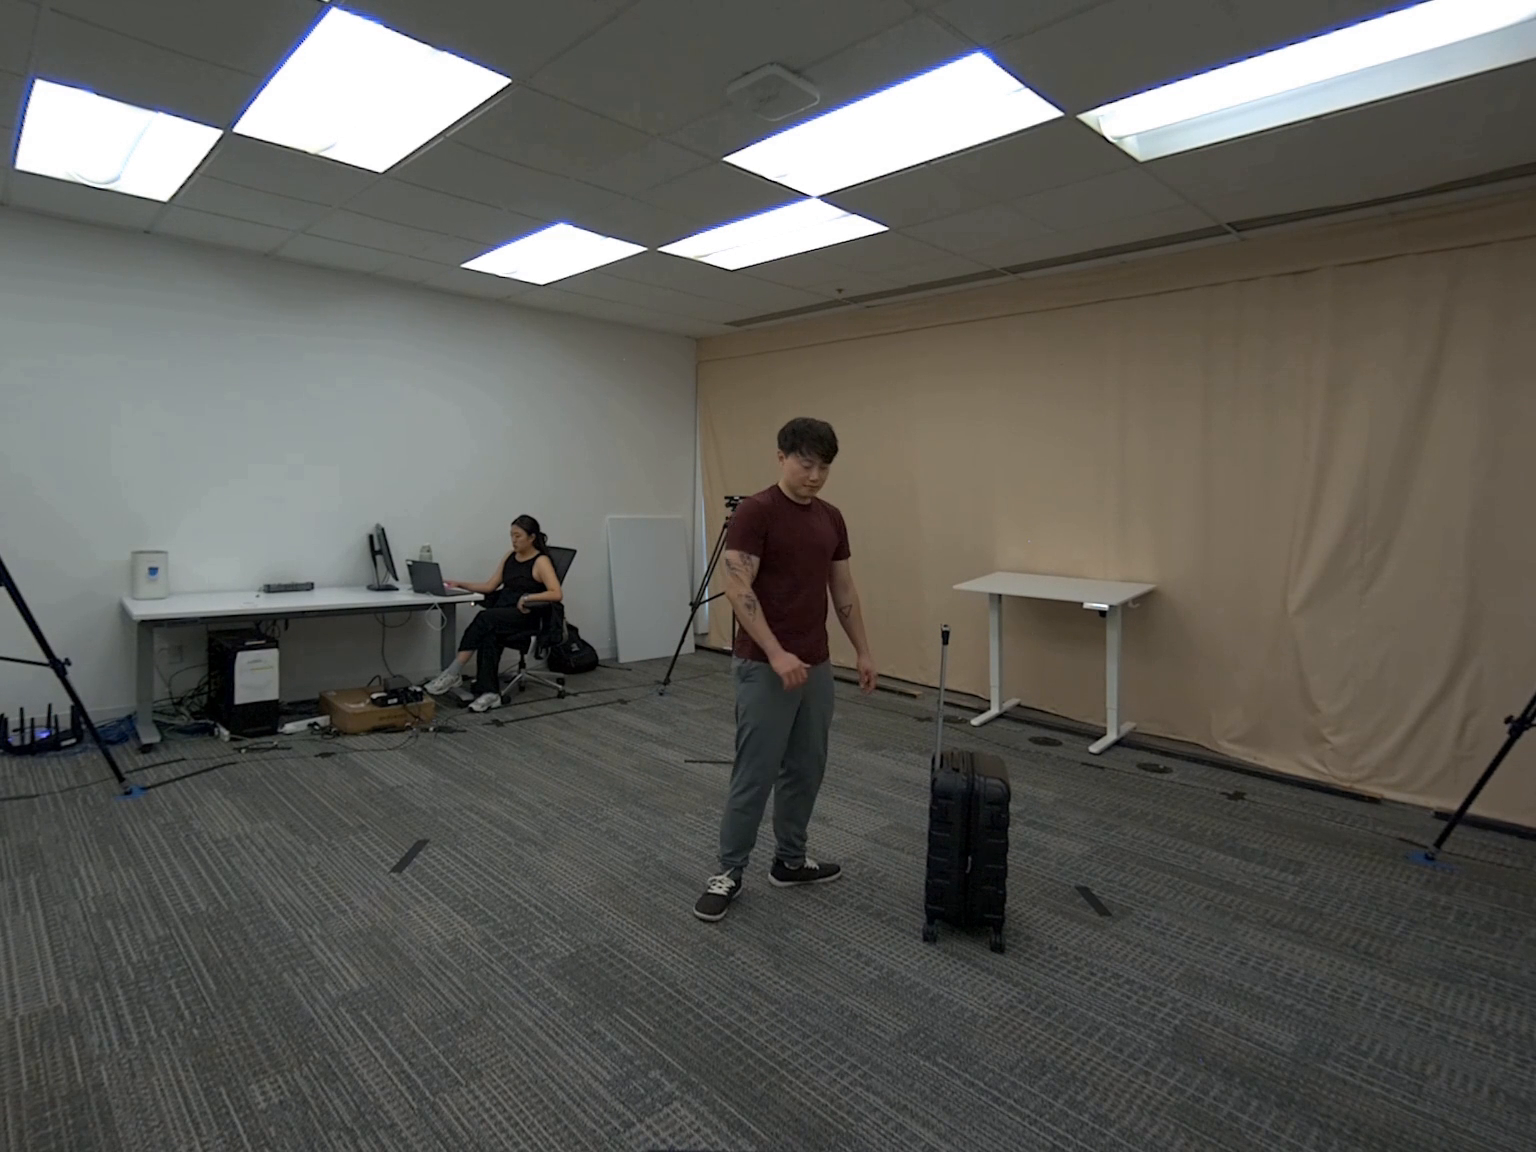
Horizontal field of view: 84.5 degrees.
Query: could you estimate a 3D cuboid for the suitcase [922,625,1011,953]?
[{"bbox_3d":[0.665,0.675,2.788,0.259,0.977,0.381,4,3,10],"label":"suitcase"}]
